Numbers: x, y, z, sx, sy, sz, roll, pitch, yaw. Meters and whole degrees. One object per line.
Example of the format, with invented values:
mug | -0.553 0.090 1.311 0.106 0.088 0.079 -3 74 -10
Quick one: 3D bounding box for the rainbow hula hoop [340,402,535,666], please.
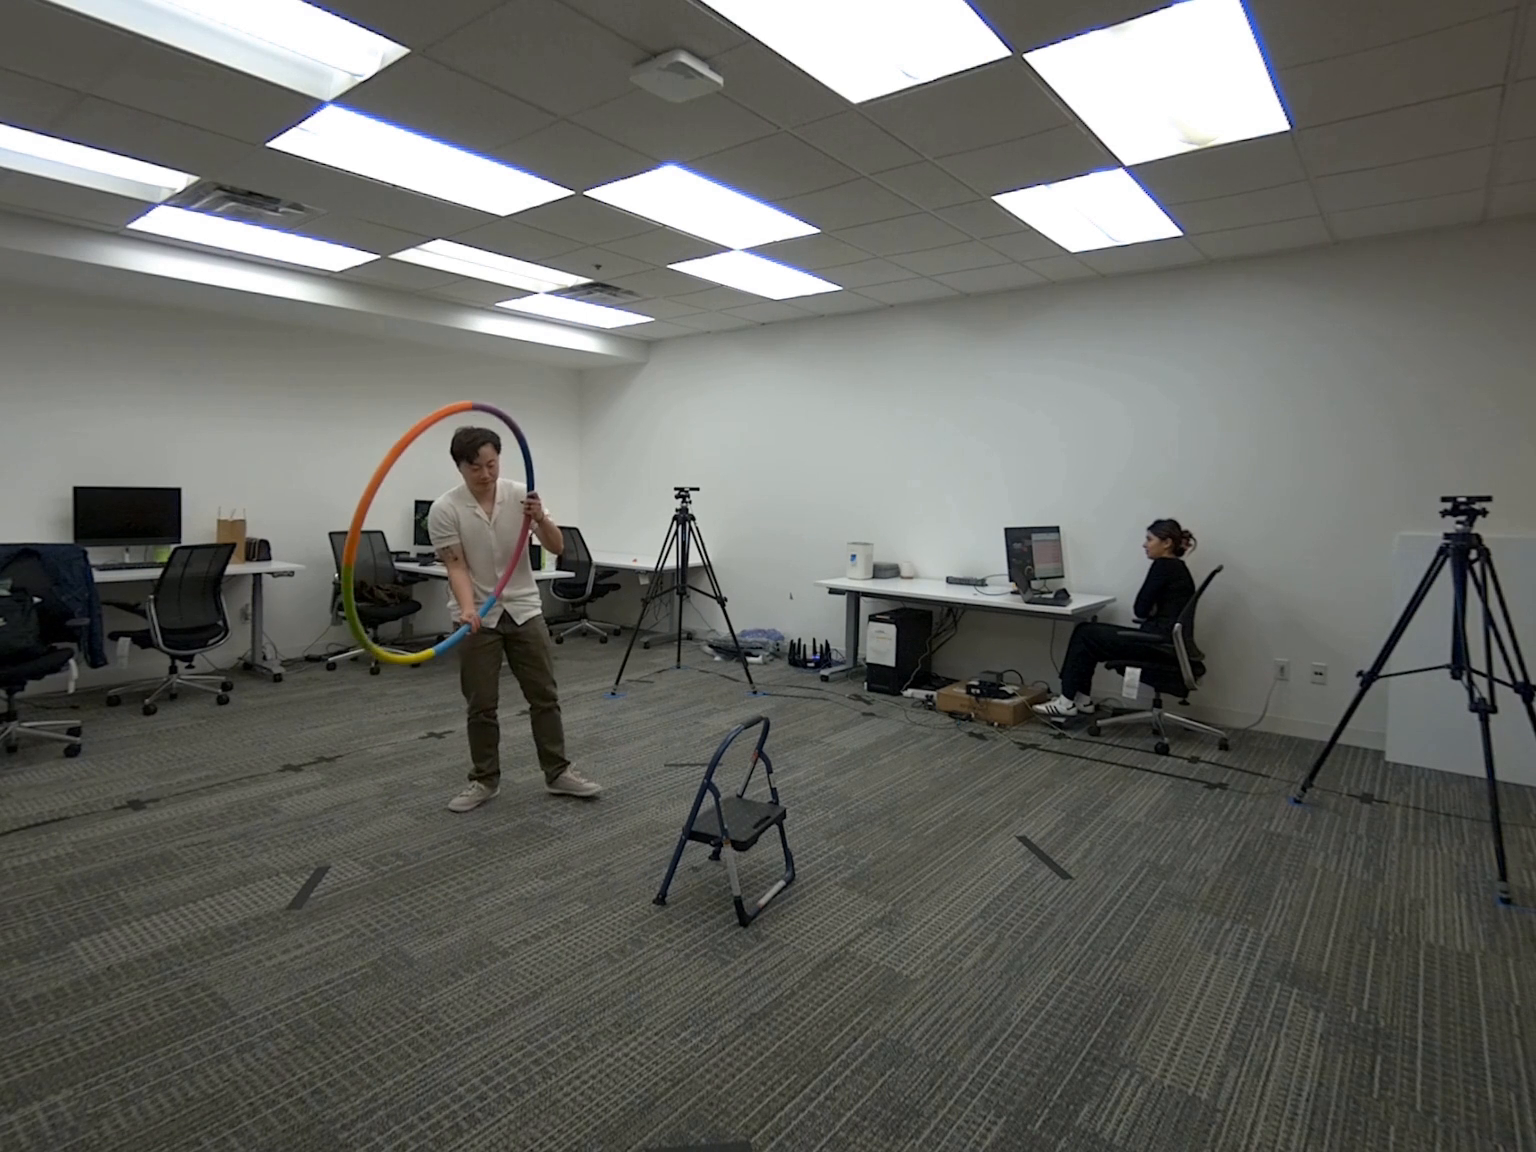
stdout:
rainbow hula hoop | -1.153 -0.150 3.069 0.036 0.973 0.963 19 9 14
